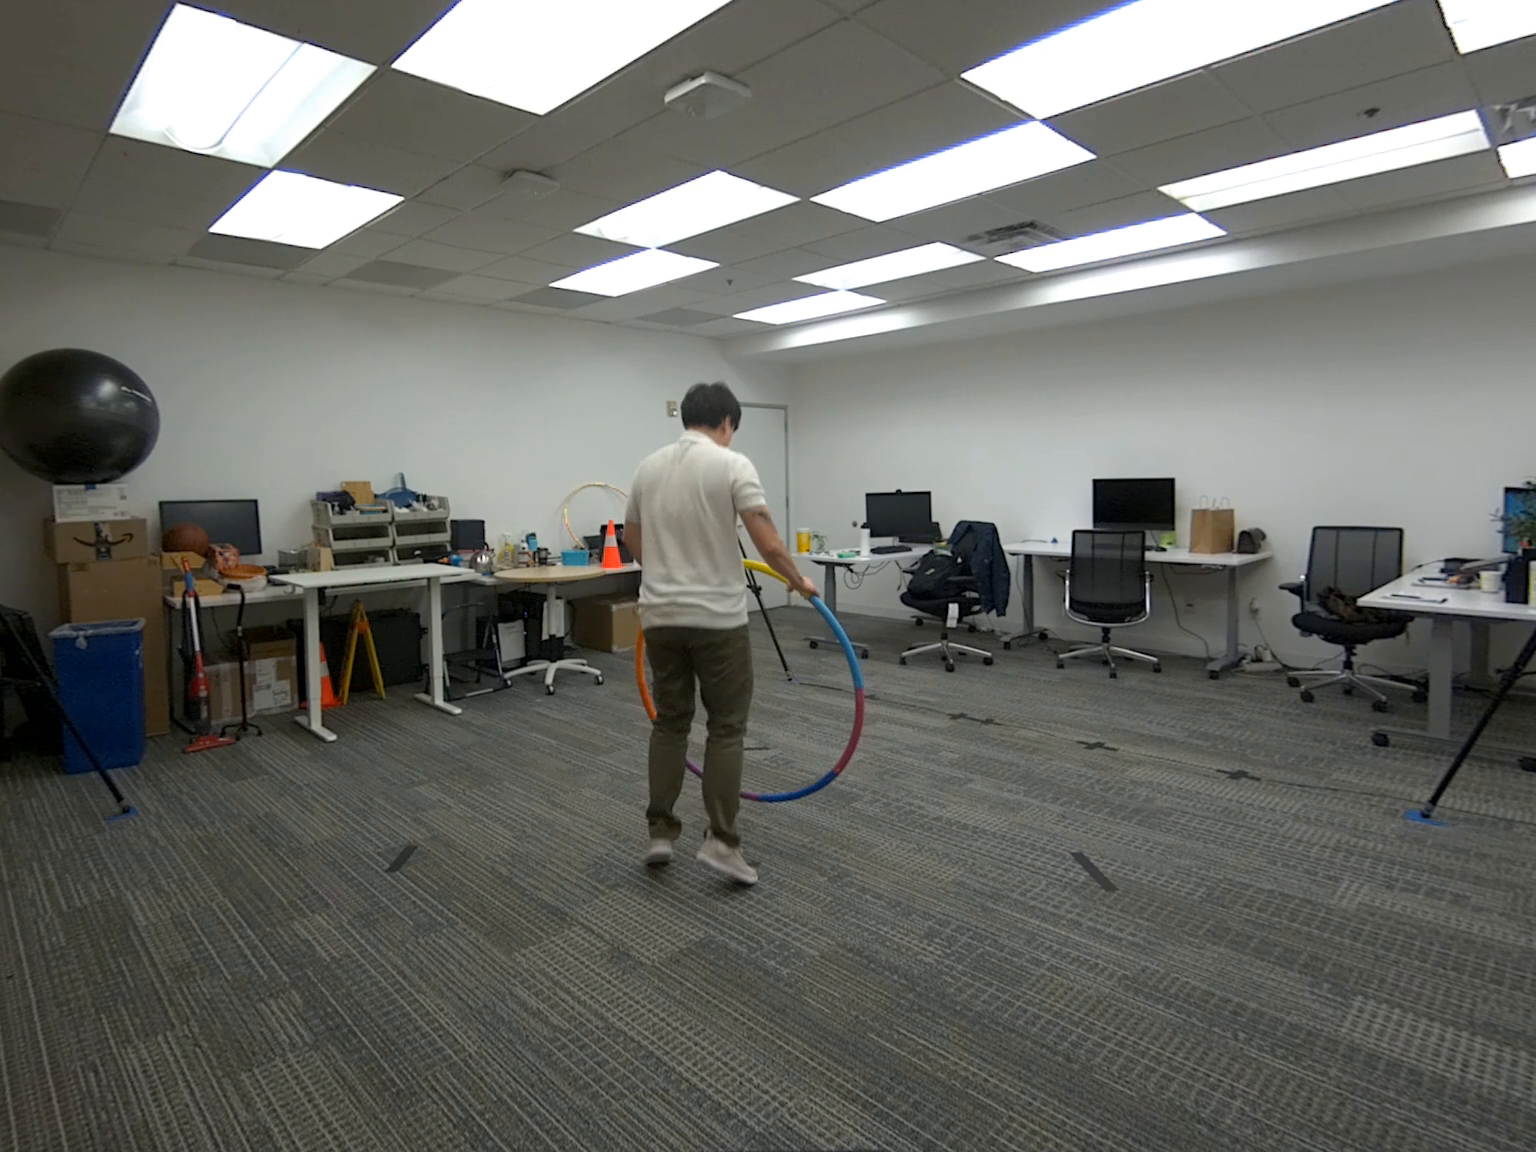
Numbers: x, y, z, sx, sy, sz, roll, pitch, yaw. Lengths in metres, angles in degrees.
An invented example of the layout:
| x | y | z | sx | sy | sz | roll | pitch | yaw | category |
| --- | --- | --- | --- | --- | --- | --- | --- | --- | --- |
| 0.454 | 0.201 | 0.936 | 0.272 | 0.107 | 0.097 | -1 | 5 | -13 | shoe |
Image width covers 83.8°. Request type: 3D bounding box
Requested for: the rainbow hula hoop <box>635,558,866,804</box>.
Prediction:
| x | y | z | sx | sy | sz | roll | pitch | yaw | category |
| --- | --- | --- | --- | --- | --- | --- | --- | --- | --- |
| -0.102 | 0.418 | 3.298 | 1.003 | 0.969 | 0.035 | 2 | 11 | 28 | rainbow hula hoop |
